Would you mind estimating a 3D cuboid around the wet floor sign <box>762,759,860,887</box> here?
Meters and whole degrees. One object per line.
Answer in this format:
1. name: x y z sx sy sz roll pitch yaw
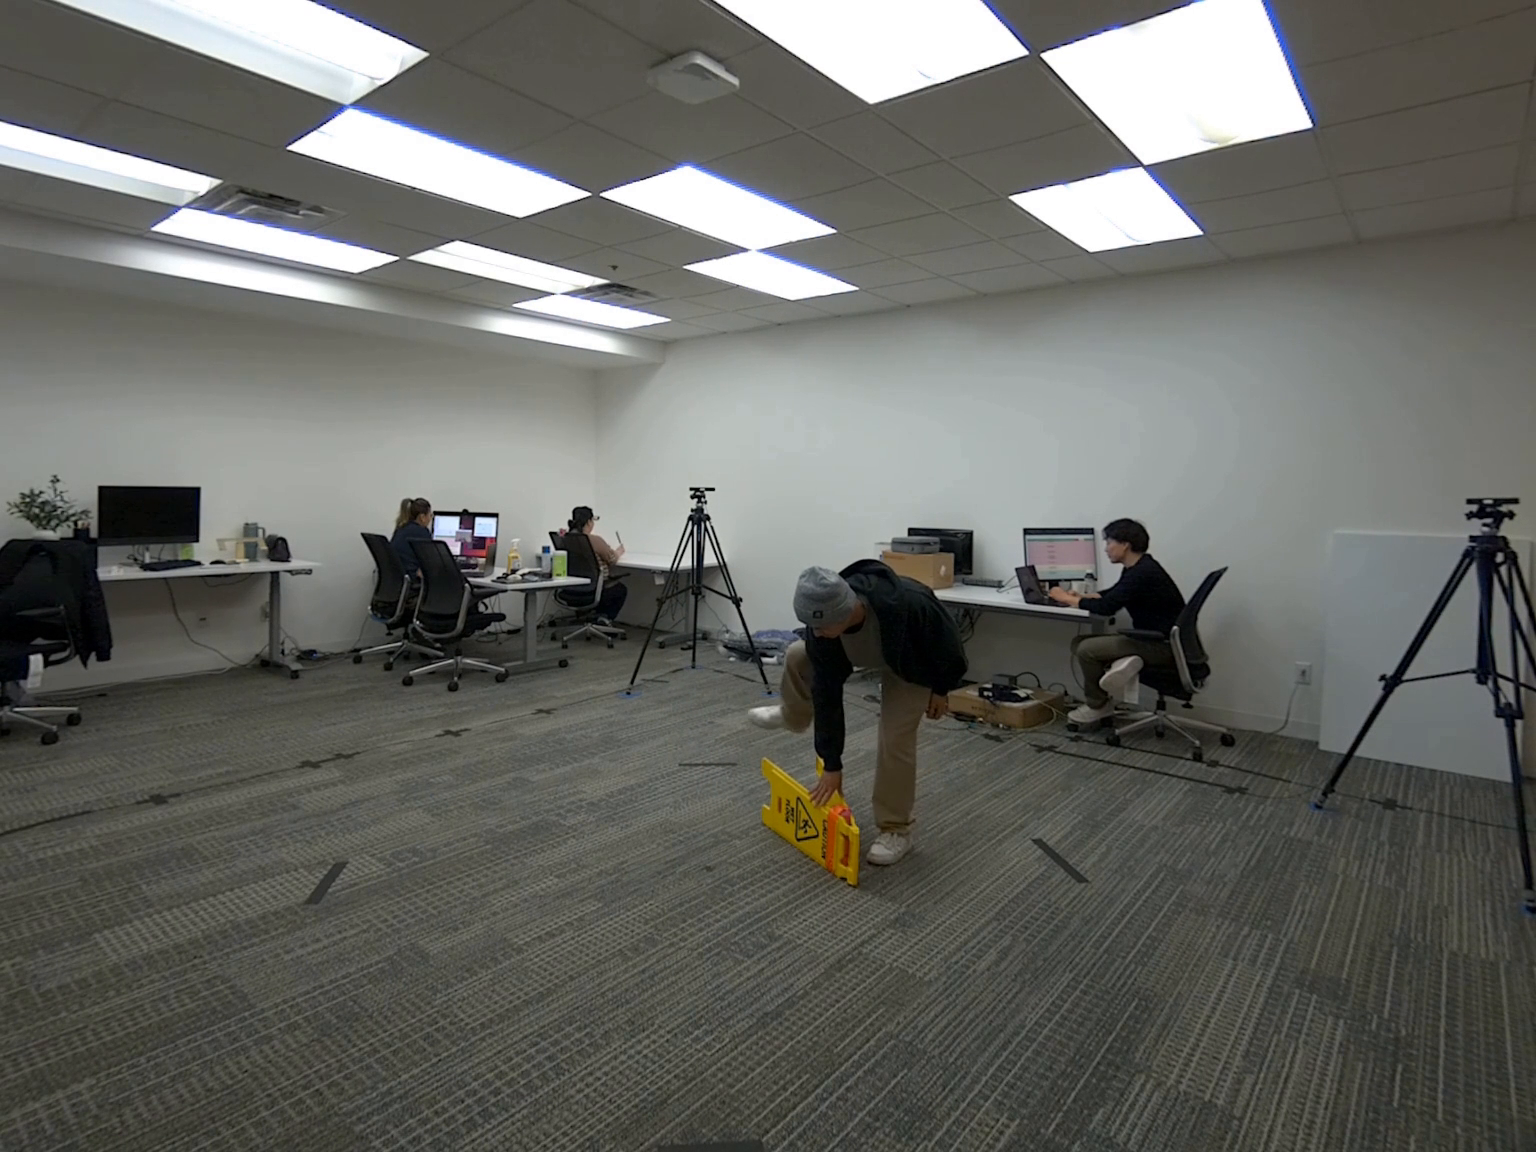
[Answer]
1. wet floor sign: 0.201 0.932 3.277 0.284 0.280 0.662 -1 9 -19
